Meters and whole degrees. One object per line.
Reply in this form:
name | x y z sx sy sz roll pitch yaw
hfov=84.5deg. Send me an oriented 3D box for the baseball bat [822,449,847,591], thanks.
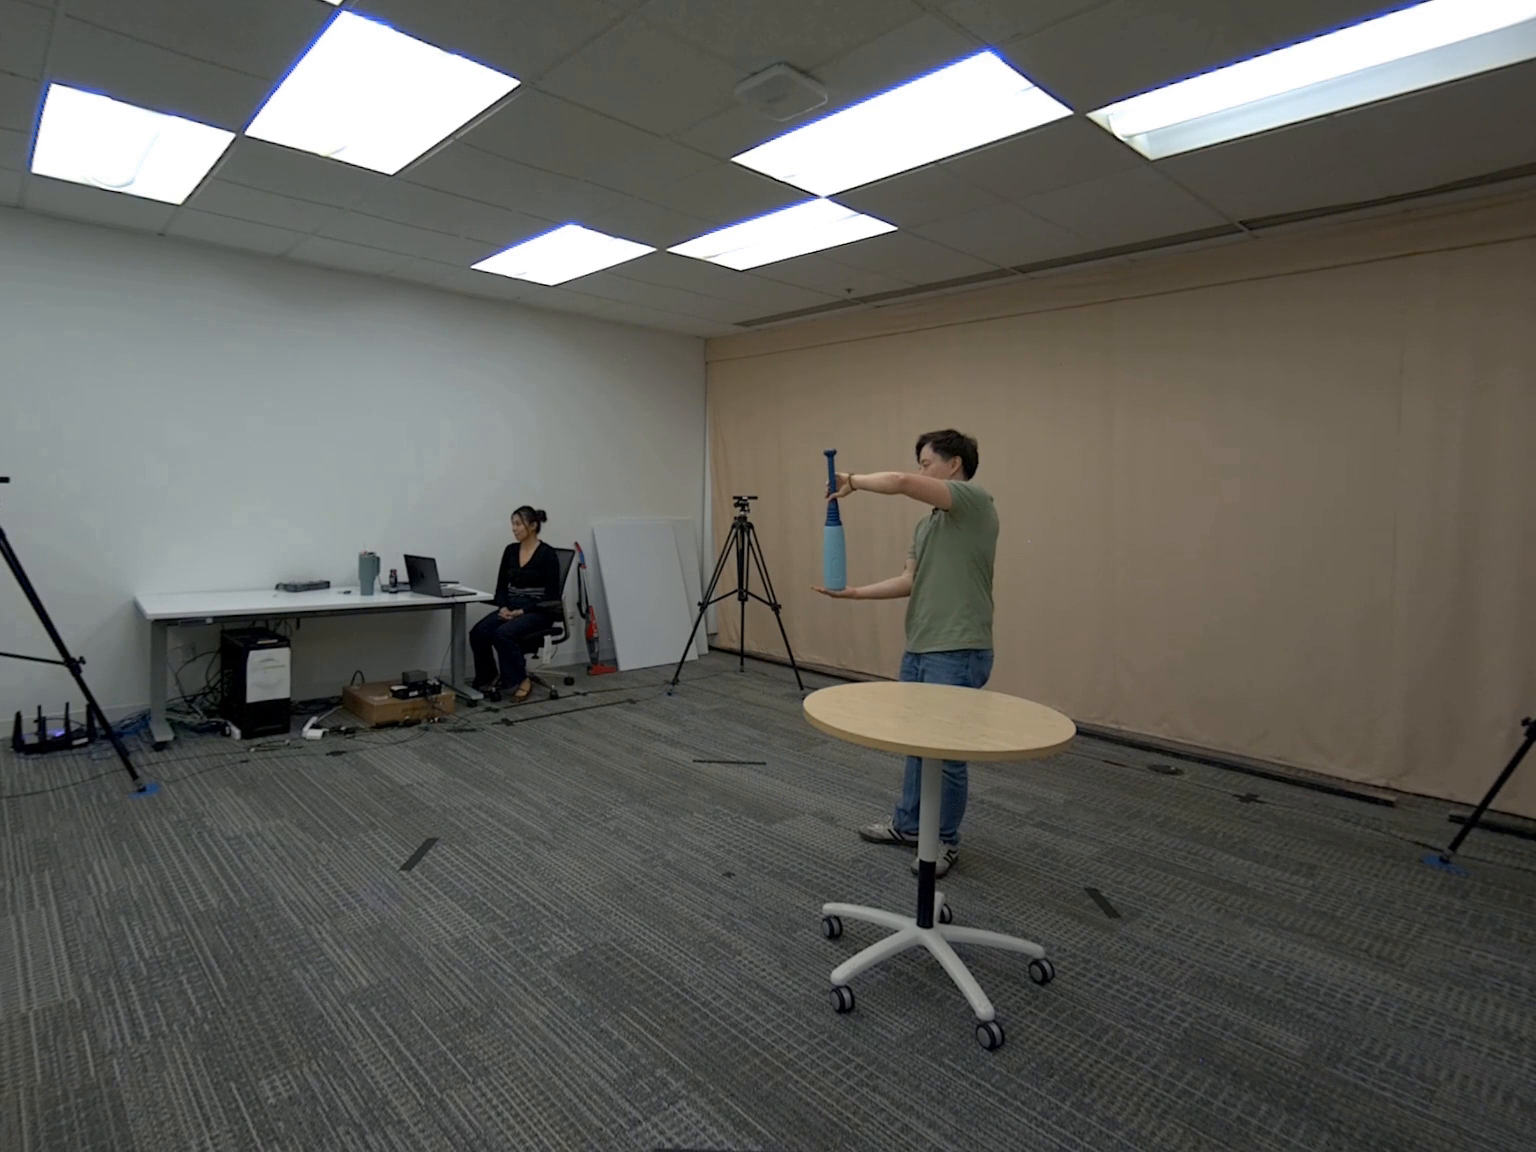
baseball bat | 0.256 -0.211 3.229 0.089 0.541 0.089 -2 5 -1
